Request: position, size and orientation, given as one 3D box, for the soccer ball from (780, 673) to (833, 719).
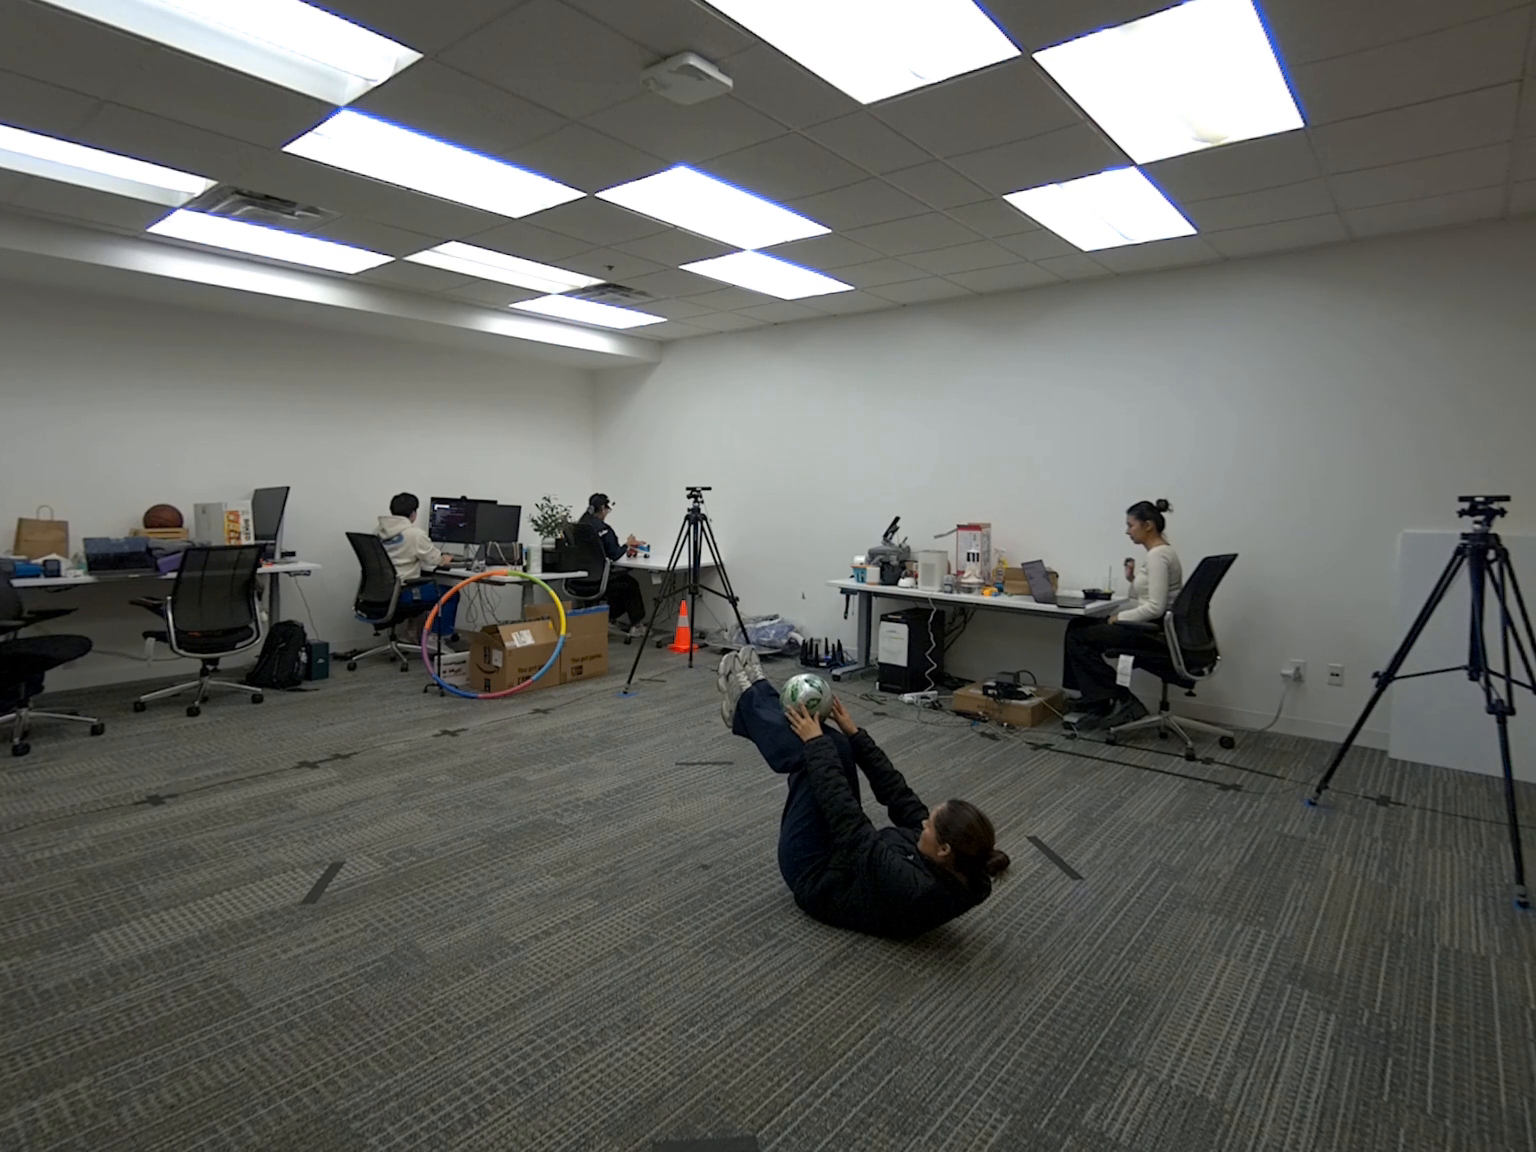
[{"bbox_3d":[0.115,0.428,2.953,0.187,0.187,0.188,-3,3,-2],"label":"soccer ball"}]
